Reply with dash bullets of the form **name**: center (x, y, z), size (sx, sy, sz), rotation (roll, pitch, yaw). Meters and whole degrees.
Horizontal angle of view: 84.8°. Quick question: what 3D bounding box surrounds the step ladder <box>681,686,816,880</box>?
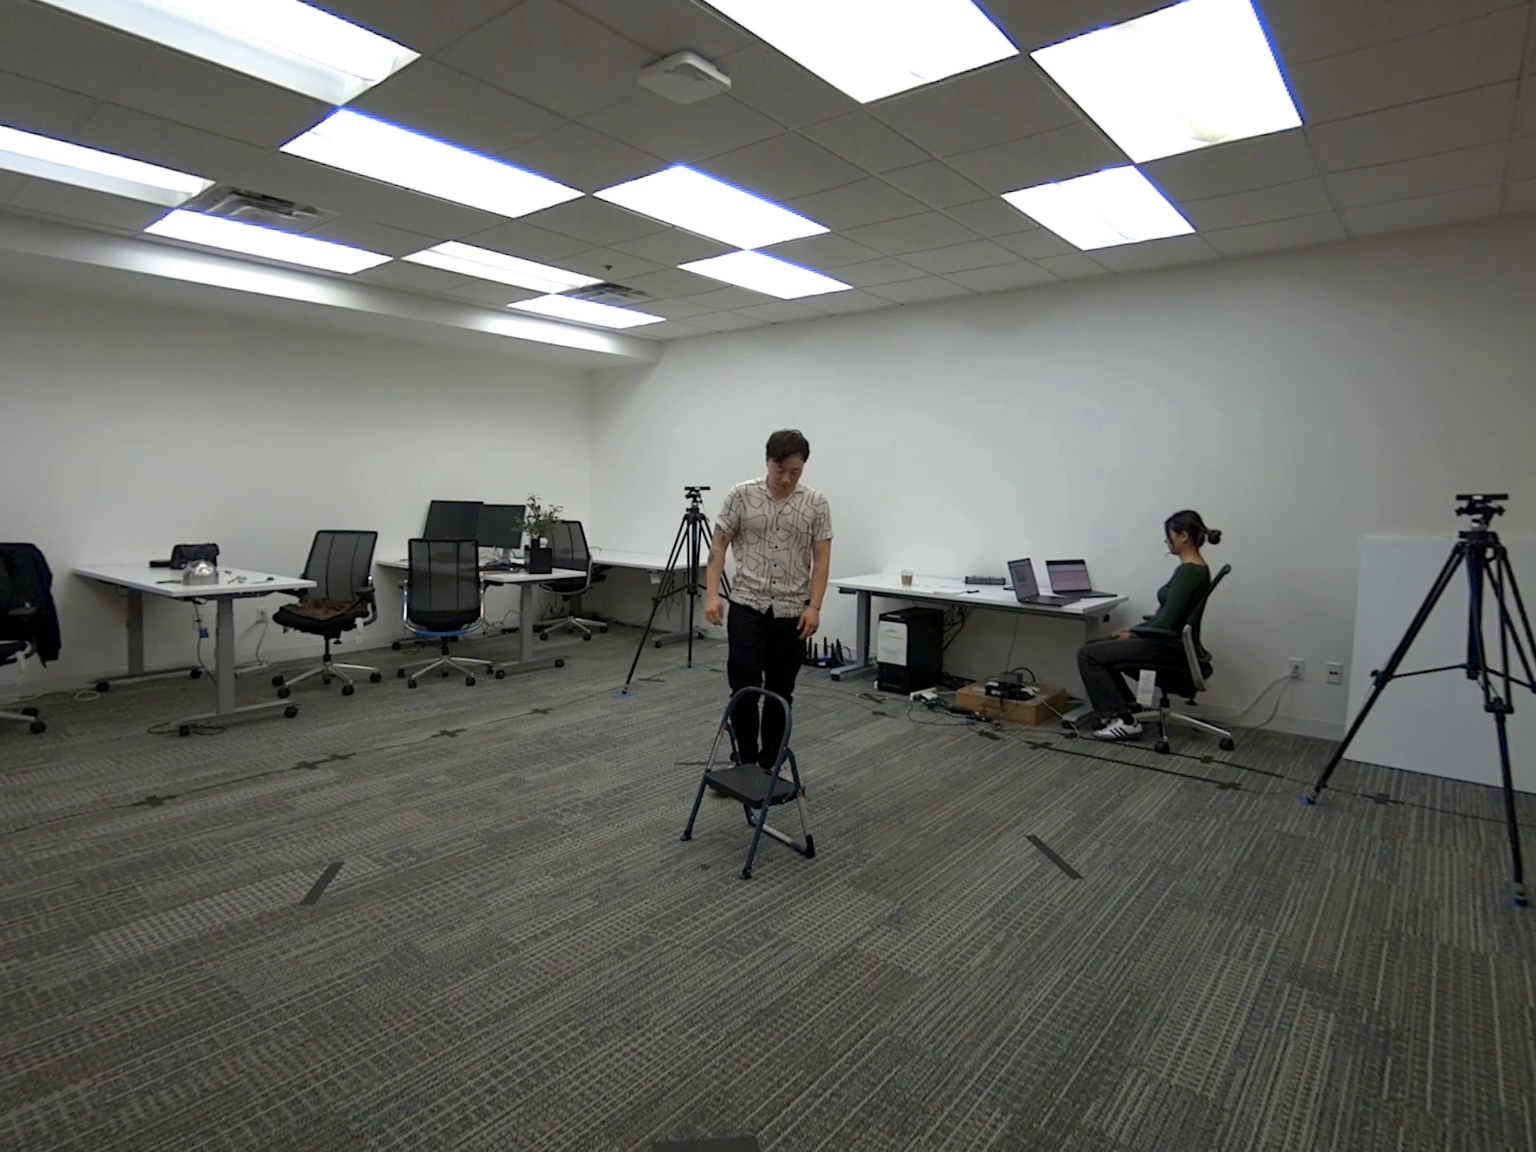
- **step ladder**: center (-0.084, 0.745, 3.272), size (0.339, 0.605, 0.445), rotation (-1, 3, -37)
